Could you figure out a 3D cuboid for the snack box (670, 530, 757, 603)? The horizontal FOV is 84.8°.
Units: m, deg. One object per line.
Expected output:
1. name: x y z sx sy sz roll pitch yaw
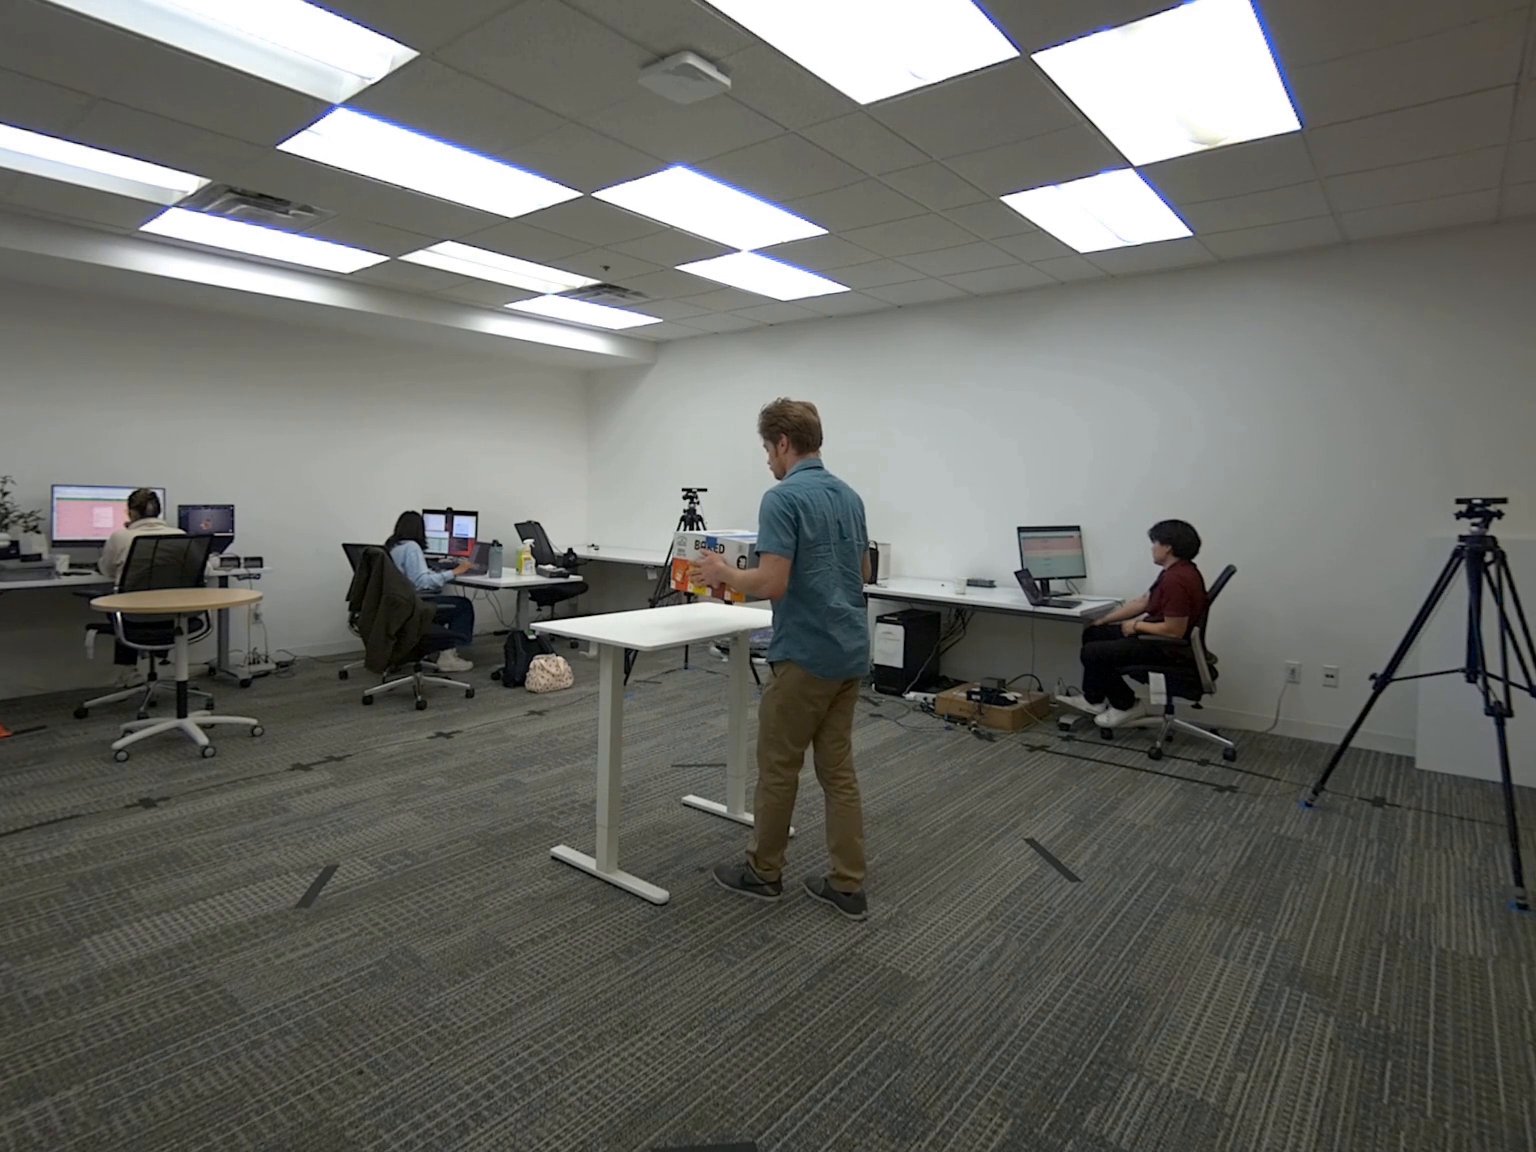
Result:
1. snack box: -0.096 -0.046 3.049 0.352 0.204 0.393 10 9 37
